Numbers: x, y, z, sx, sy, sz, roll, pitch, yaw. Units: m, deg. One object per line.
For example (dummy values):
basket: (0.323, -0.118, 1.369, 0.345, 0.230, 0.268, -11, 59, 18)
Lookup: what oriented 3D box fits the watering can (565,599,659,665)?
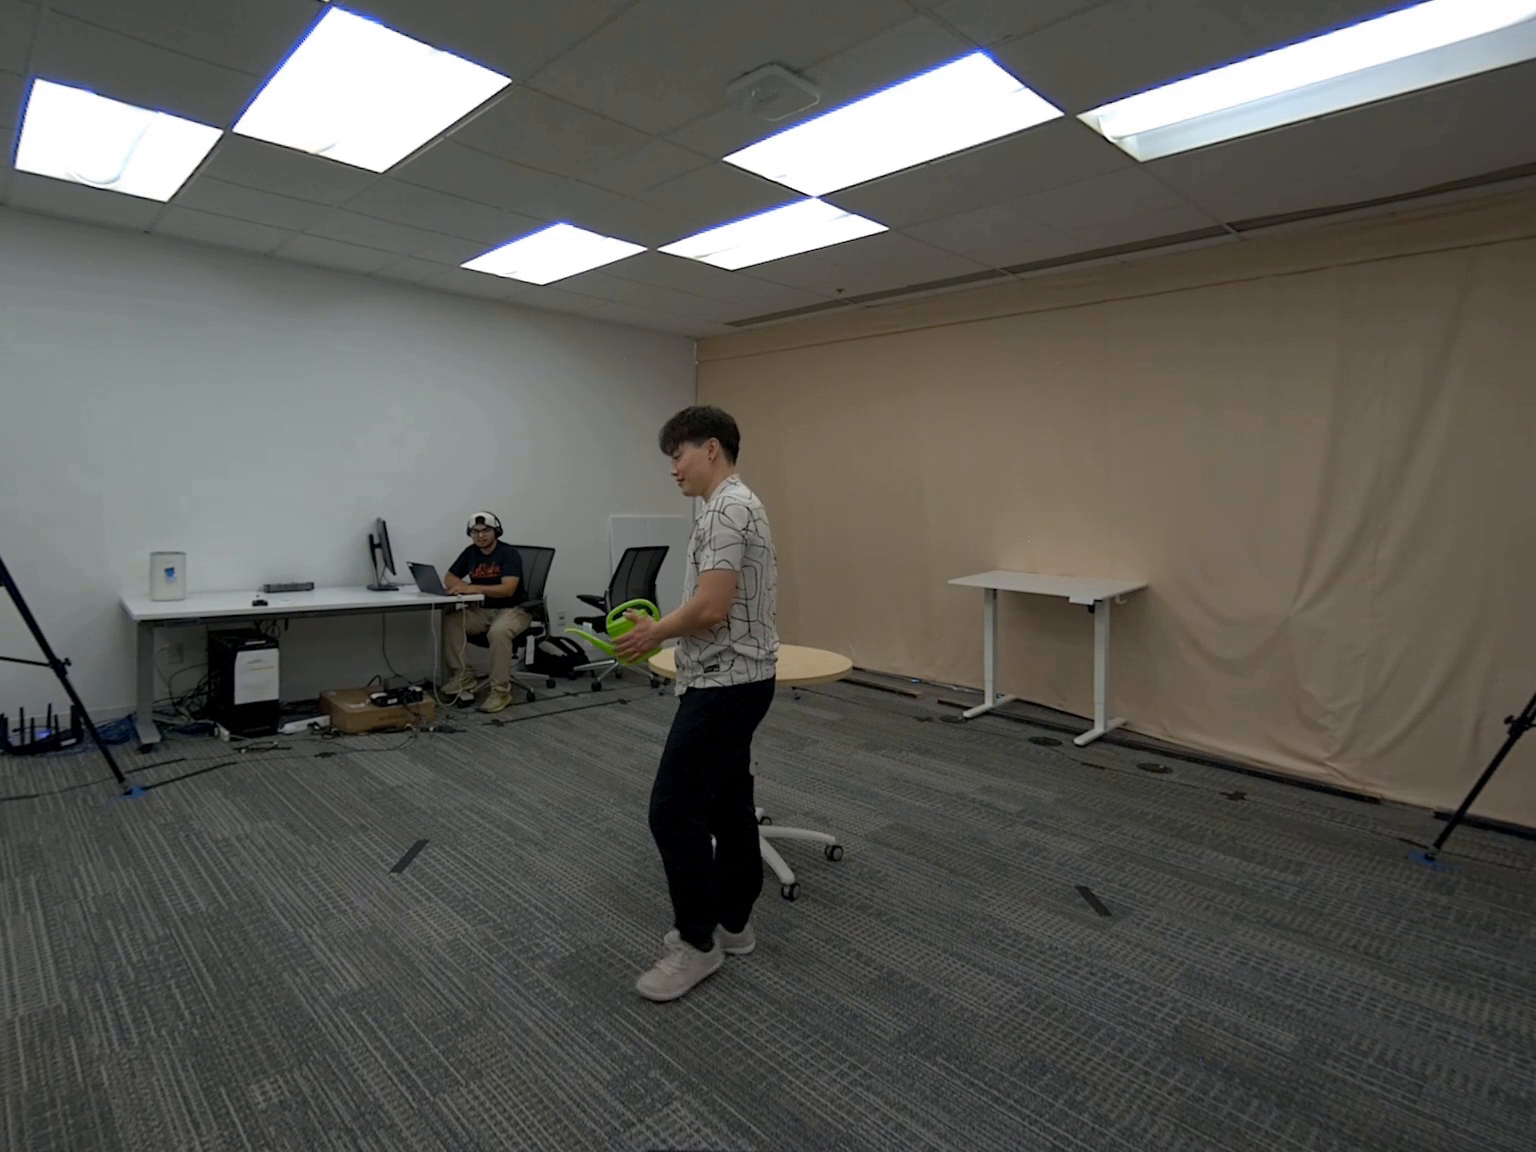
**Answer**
watering can: (-0.455, 0.184, 2.522, 0.279, 0.175, 0.098, -21, 9, 9)
